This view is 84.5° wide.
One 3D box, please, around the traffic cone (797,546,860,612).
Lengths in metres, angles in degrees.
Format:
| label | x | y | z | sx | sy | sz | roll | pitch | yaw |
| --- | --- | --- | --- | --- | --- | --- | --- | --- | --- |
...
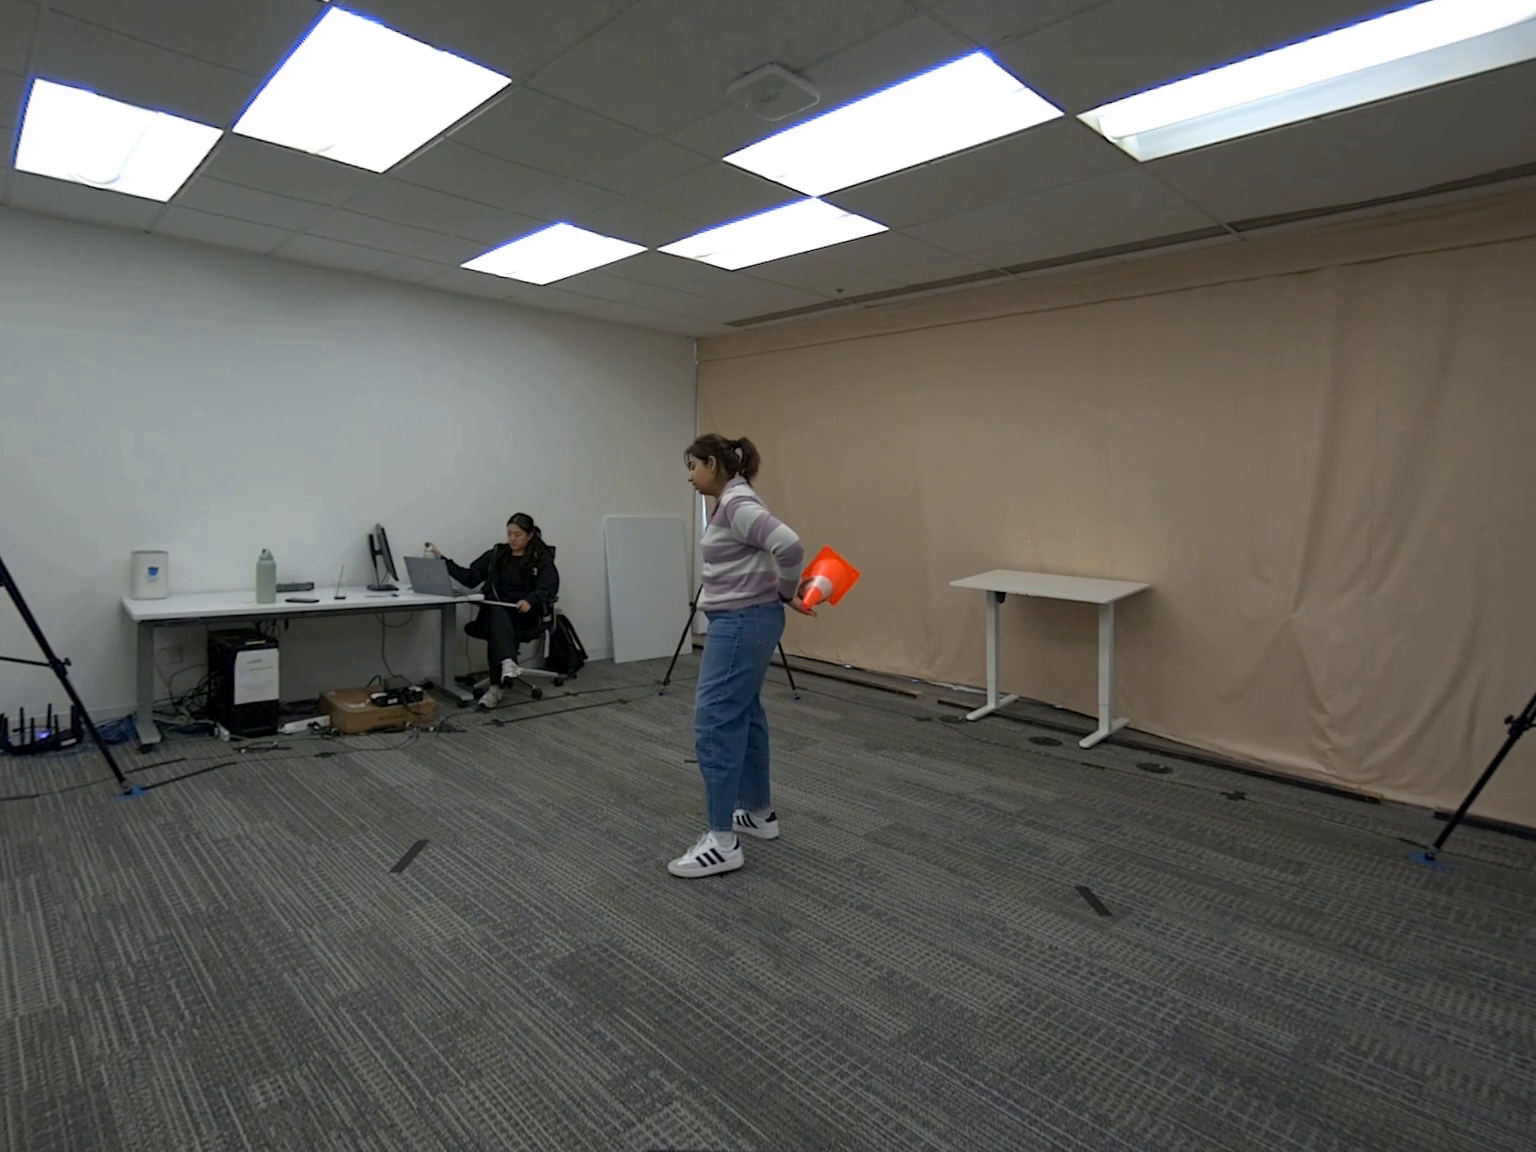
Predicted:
| label | x | y | z | sx | sy | sz | roll | pitch | yaw |
| --- | --- | --- | --- | --- | --- | --- | --- | --- | --- |
| traffic cone | 0.198 | 0.049 | 3.422 | 0.204 | 0.204 | 0.383 | 39 | 24 | 3 |
